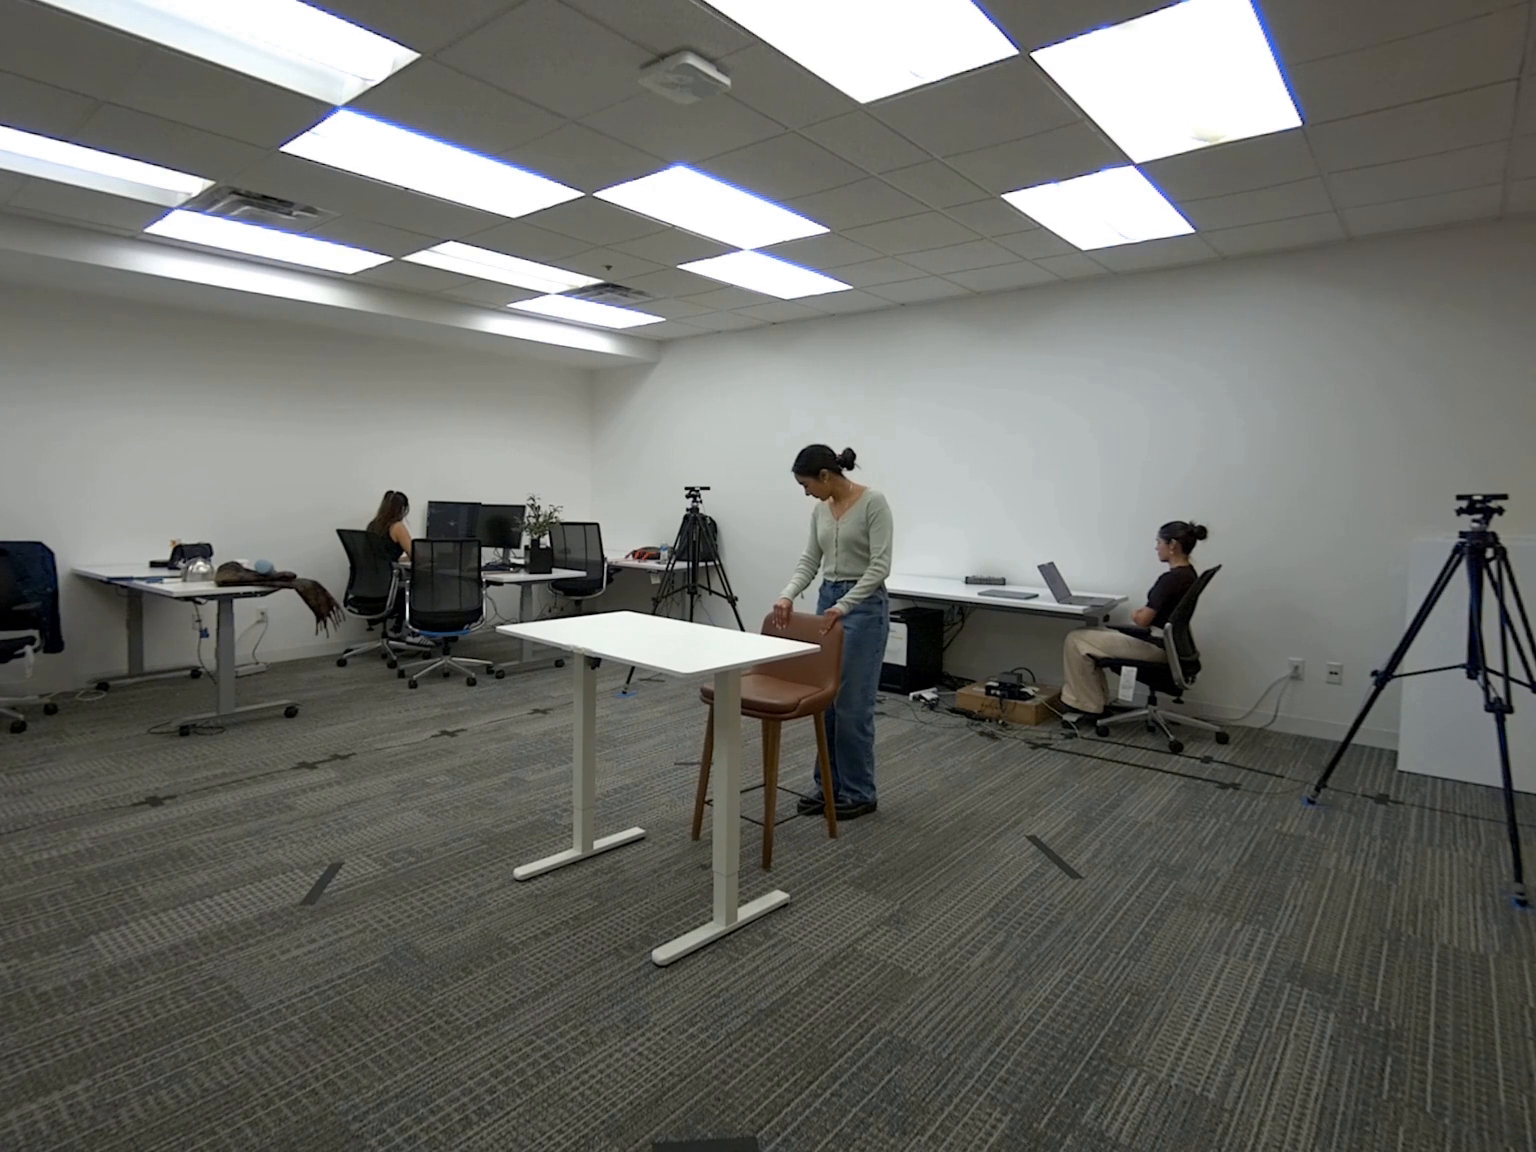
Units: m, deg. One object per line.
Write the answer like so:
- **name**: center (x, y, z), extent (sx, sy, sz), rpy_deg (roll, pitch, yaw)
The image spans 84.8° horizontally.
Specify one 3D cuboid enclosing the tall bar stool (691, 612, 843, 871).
- **tall bar stool**: center (0.000, 0.601, 3.373), extent (0.472, 0.888, 0.453), rpy_deg (4, 3, 43)
